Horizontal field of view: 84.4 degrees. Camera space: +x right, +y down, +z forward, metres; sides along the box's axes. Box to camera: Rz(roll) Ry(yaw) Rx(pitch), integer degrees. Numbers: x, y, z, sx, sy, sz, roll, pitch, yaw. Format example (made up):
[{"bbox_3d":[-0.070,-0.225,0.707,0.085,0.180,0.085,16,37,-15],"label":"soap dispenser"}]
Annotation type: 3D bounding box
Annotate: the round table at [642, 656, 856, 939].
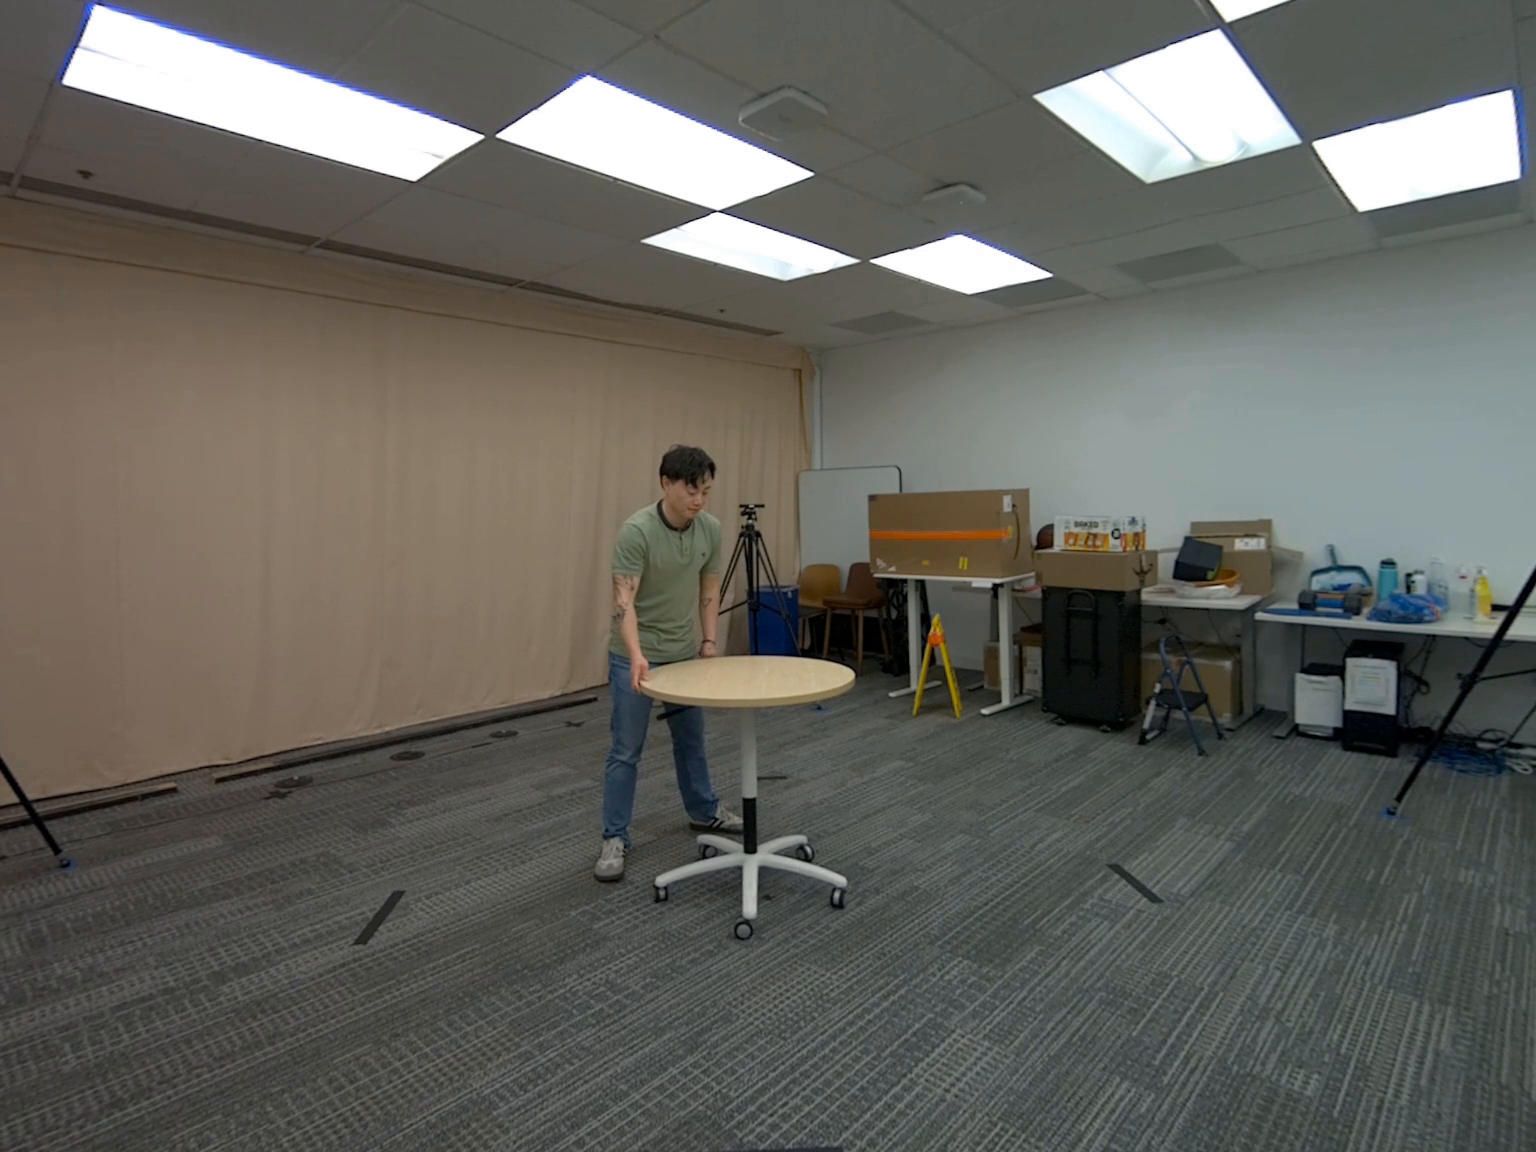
[{"bbox_3d":[-0.068,0.746,3.024,0.763,0.792,0.766,-1,3,-2],"label":"round table"}]
